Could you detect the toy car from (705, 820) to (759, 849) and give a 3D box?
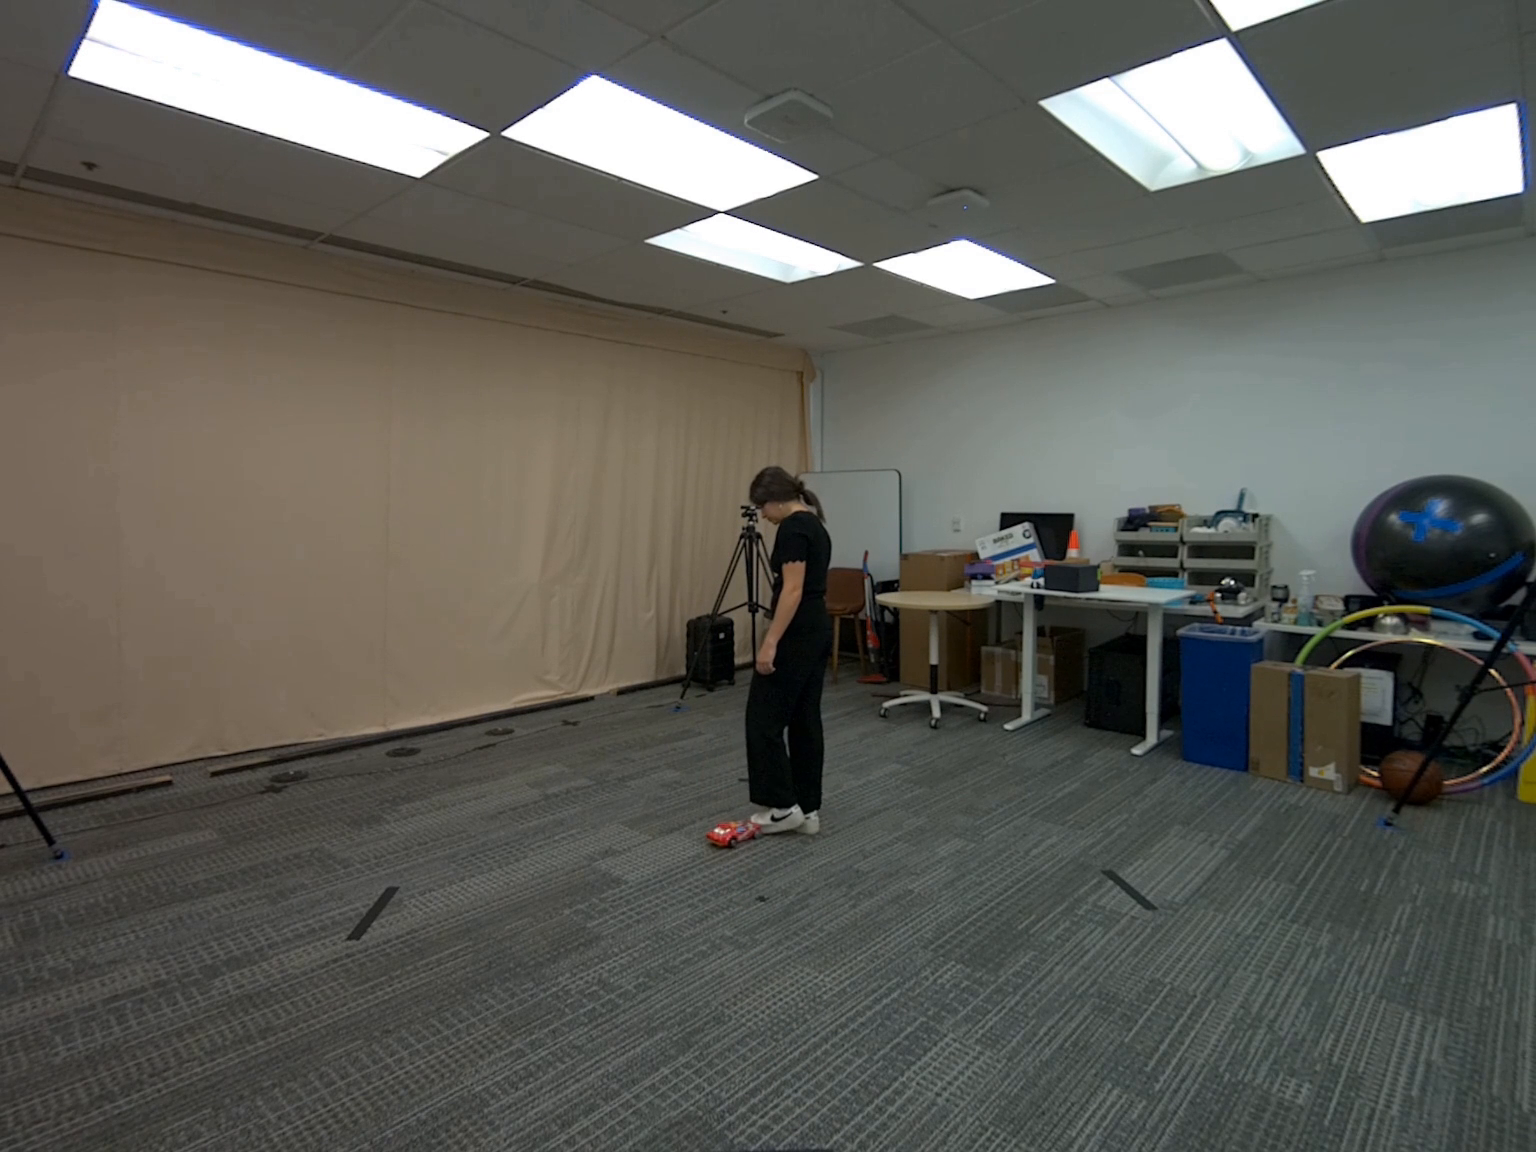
[{"bbox_3d":[-0.154,1.071,3.489,0.245,0.083,0.134,13,-7,-44],"label":"toy car"}]
